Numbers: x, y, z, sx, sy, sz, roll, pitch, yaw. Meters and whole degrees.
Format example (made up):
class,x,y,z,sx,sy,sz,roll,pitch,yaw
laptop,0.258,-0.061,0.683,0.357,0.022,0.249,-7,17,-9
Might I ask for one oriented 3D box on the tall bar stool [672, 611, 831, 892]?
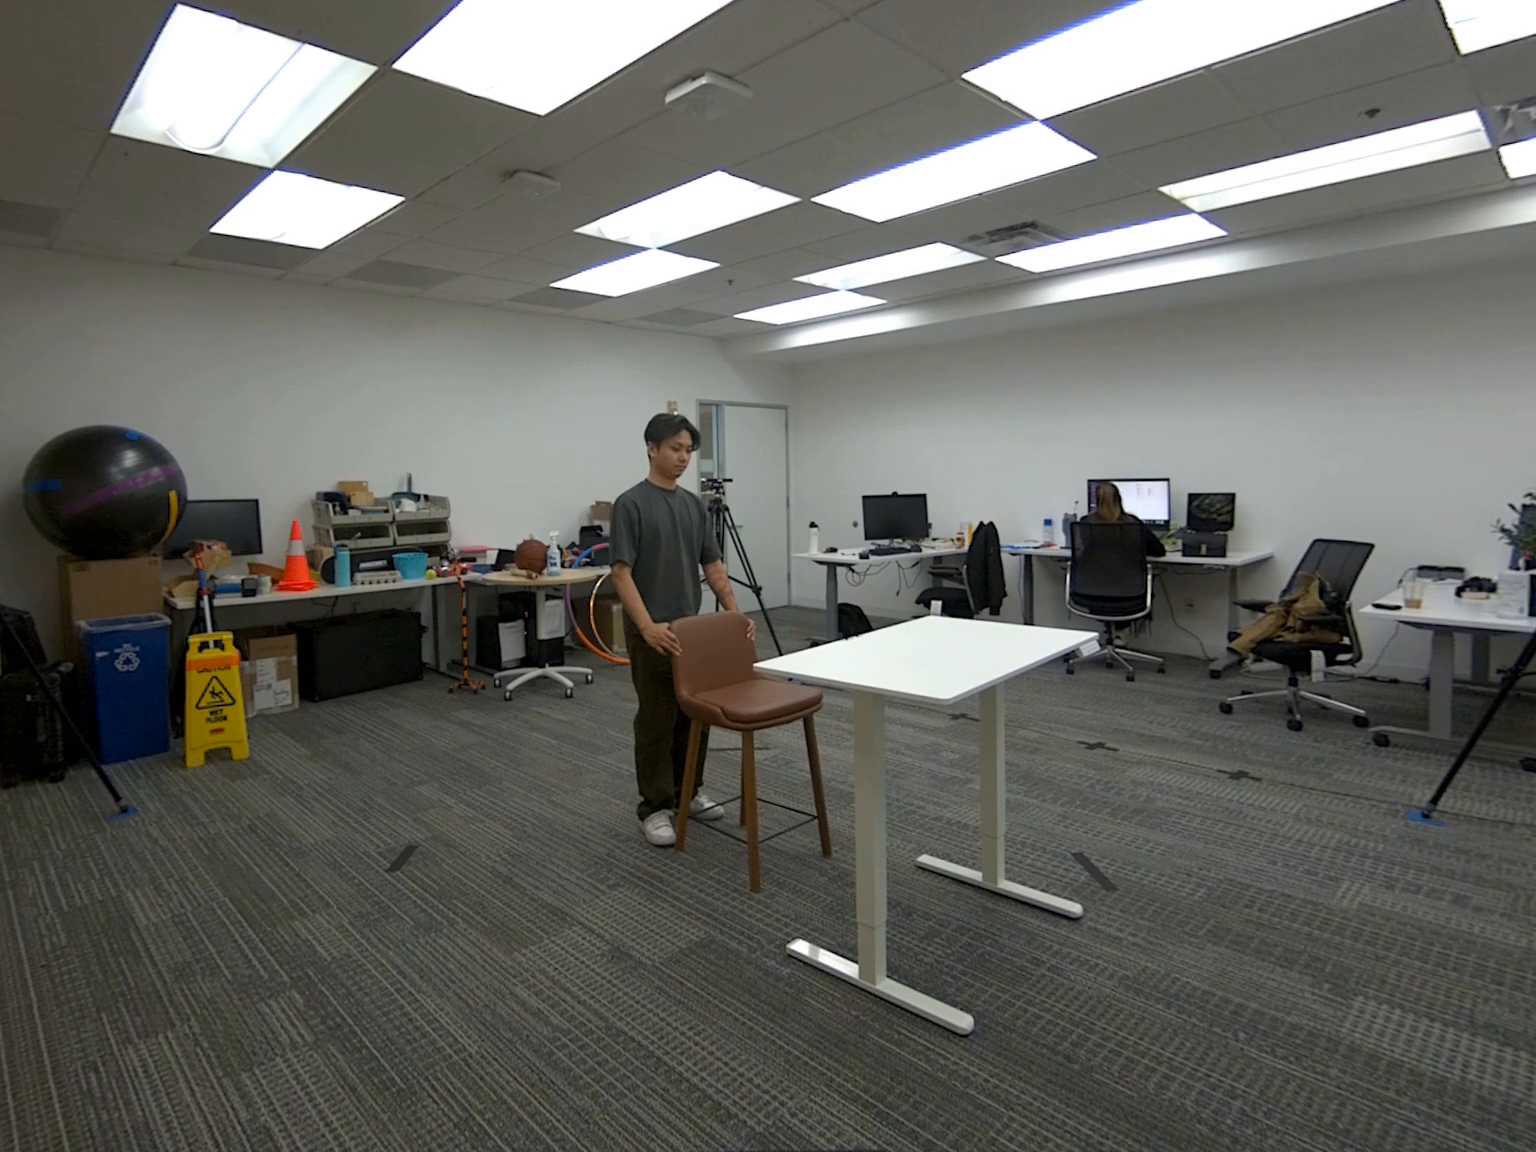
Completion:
class,x,y,z,sx,sy,sz,roll,pitch,yaw
tall bar stool,-0.075,0.602,3.164,0.444,0.888,0.481,-5,3,-45
